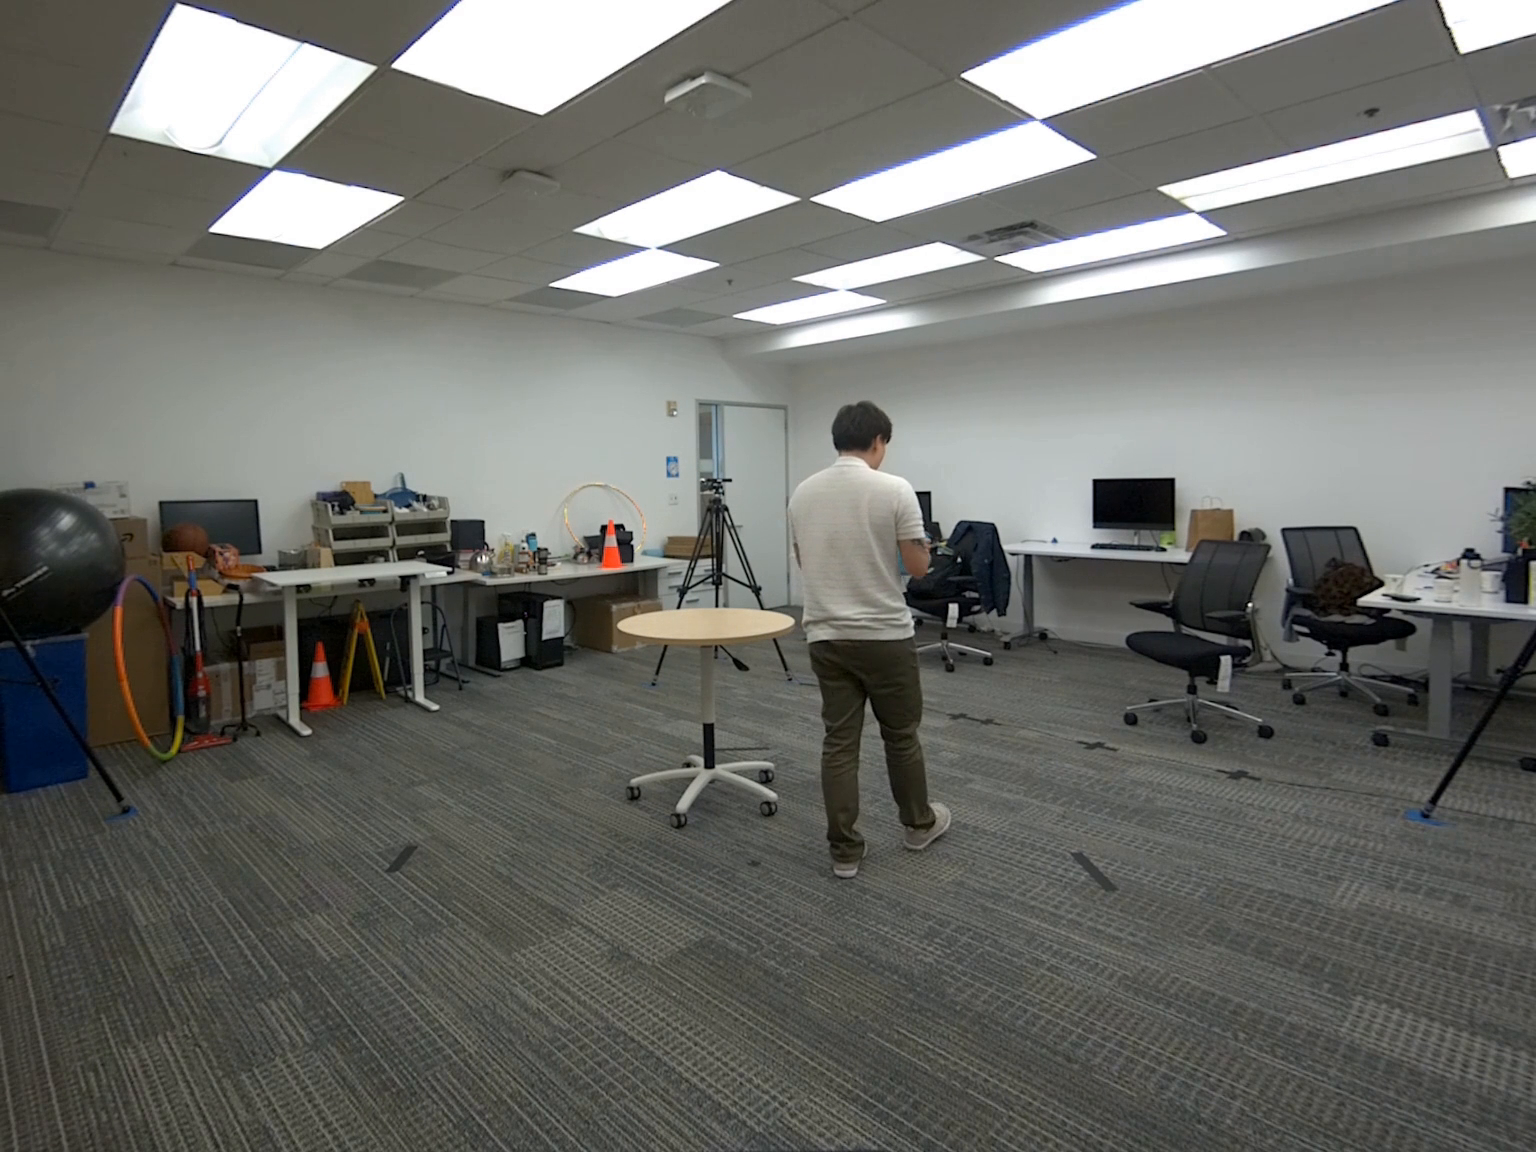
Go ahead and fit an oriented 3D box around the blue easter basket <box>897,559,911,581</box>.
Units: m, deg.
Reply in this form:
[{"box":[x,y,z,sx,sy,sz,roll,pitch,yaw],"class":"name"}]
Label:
[{"box":[0.506,-0.084,3.296,0.243,0.157,0.242,6,-6,-1],"class":"blue easter basket"}]
